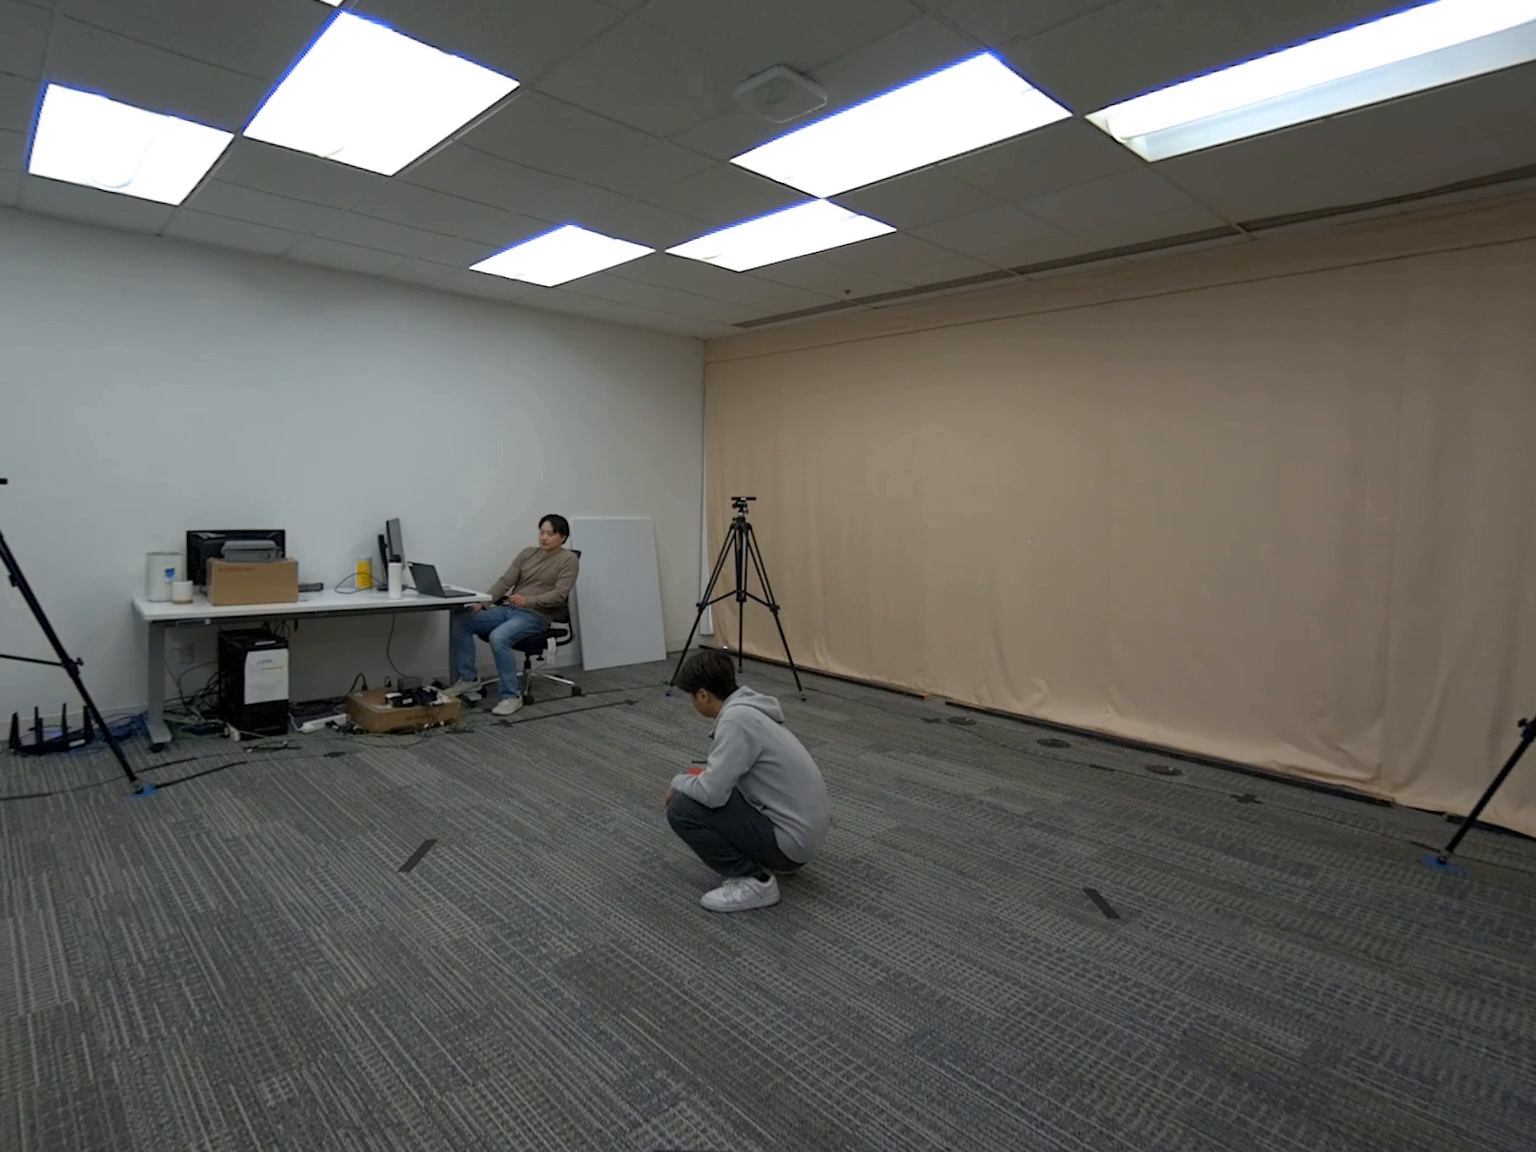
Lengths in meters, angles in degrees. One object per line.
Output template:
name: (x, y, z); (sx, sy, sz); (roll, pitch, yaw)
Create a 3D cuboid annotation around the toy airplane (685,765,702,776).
toy airplane: (-0.296, 0.974, 3.795); (0.254, 0.156, 0.257); (-3, 7, -32)
